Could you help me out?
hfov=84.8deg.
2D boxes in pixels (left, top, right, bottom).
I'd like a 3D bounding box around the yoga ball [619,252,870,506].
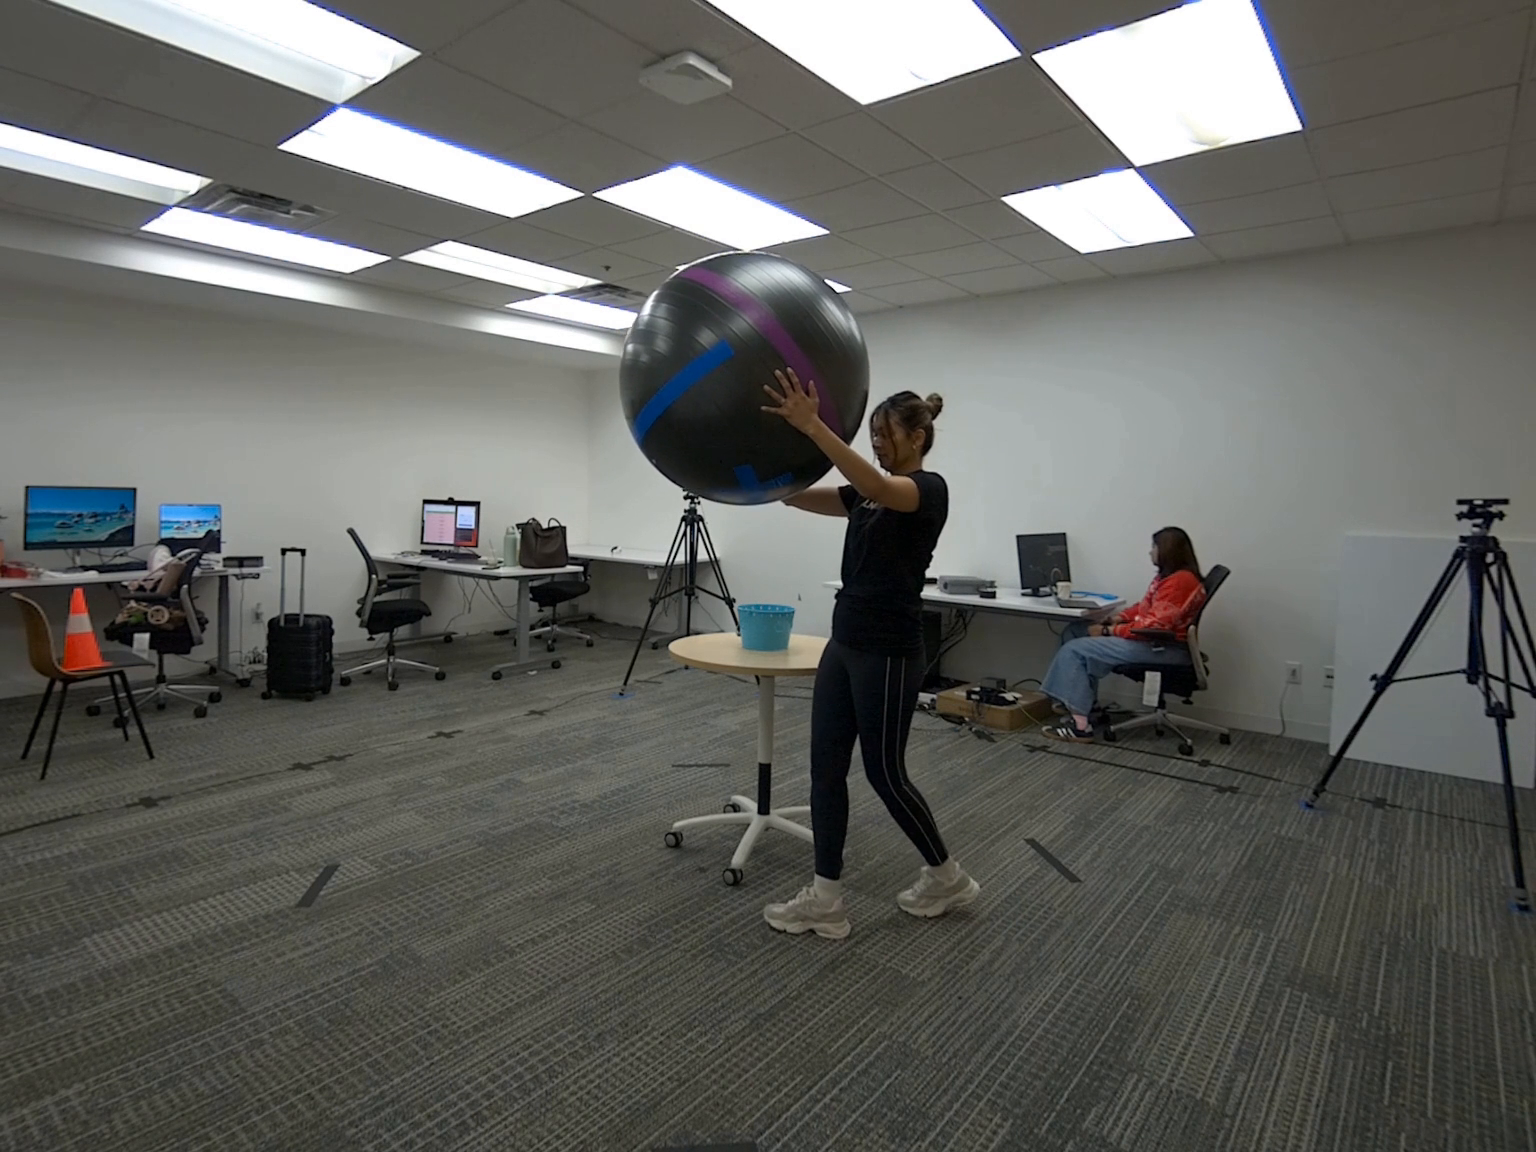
[{"bbox_3d":[-0.083,-0.589,2.601,0.757,0.756,0.762,1,4,-2],"label":"yoga ball"}]
